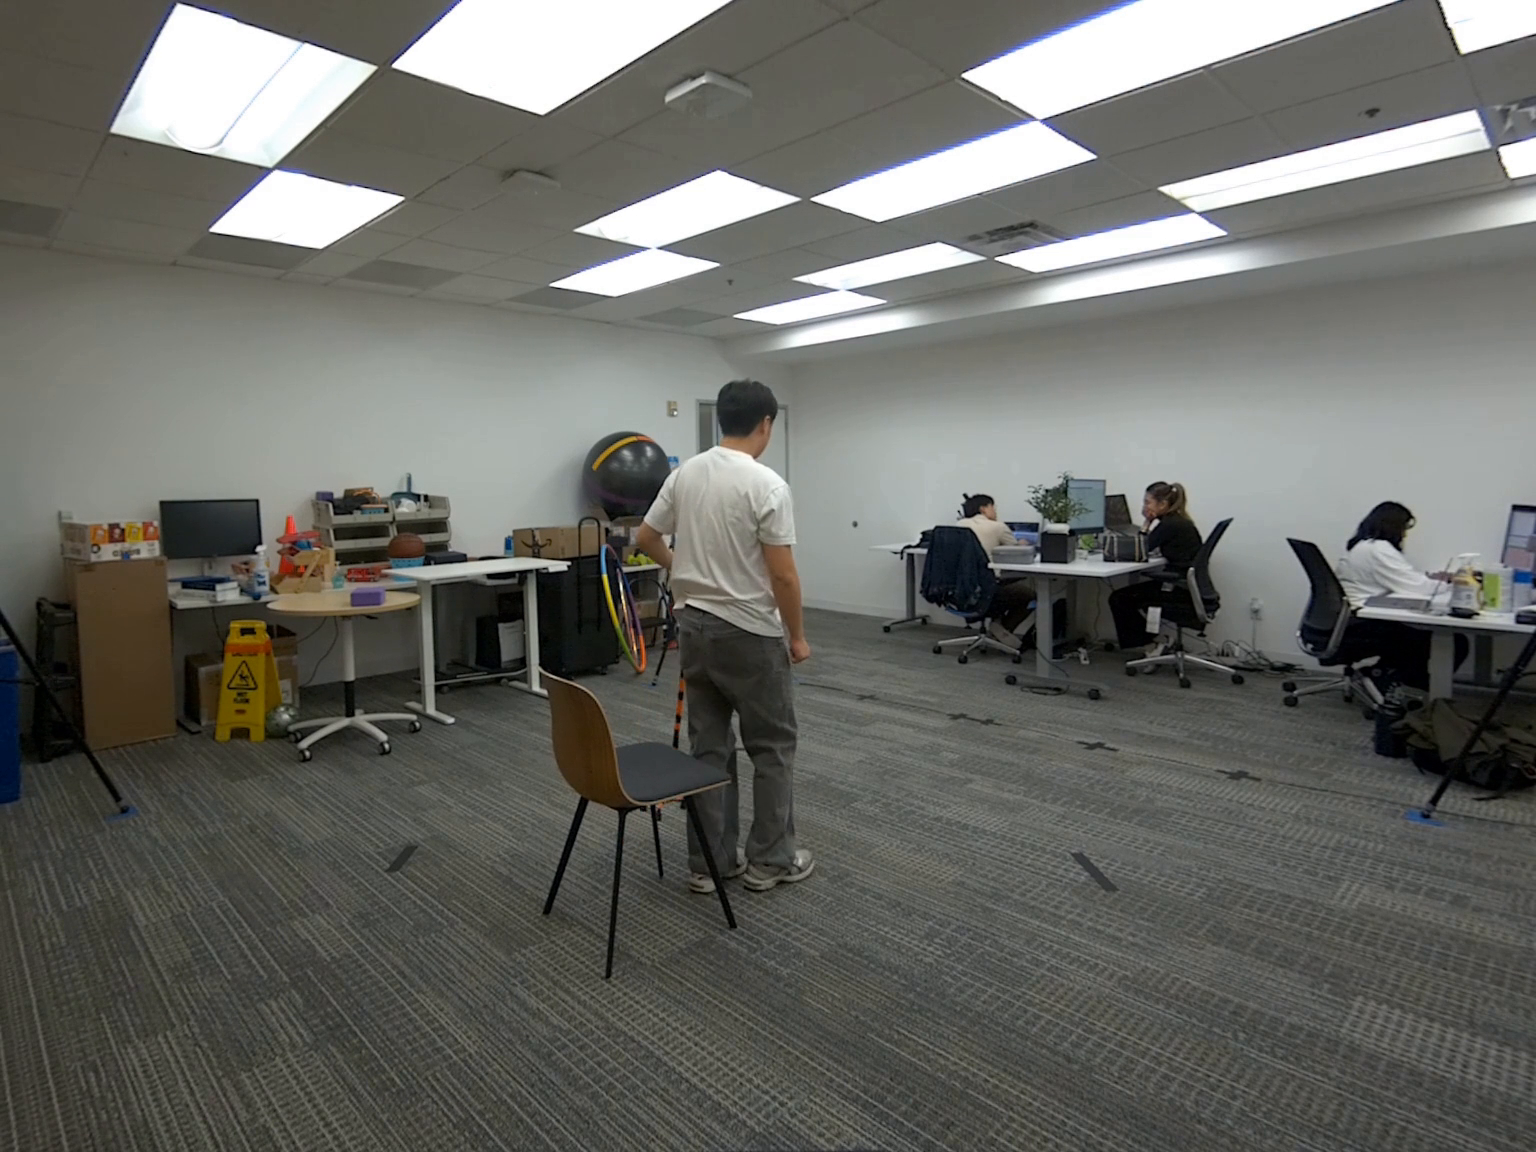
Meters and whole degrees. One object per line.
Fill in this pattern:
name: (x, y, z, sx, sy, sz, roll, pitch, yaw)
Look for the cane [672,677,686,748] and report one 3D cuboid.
cane: (-0.322, 0.477, 3.307, 0.200, 0.910, 0.156, 7, -3, -33)
